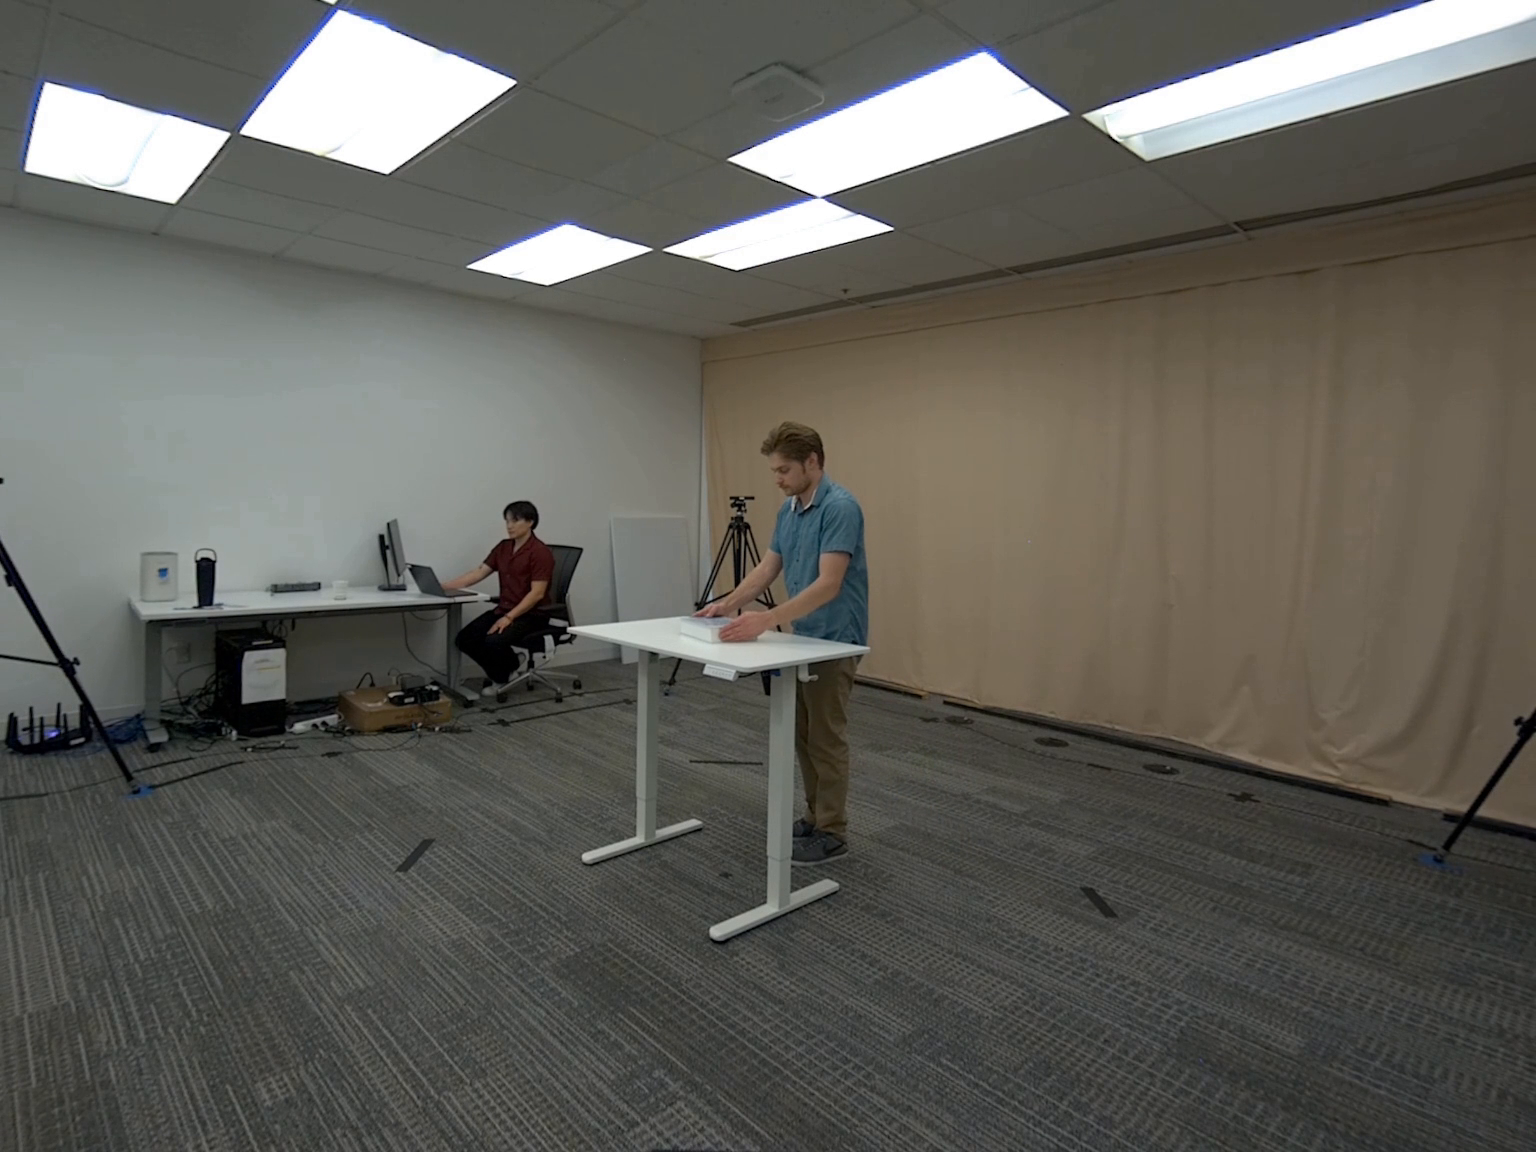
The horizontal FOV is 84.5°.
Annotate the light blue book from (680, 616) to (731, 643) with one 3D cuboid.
[{"bbox_3d":[-0.187,0.198,3.075,0.188,0.059,0.267,-1,5,-28],"label":"light blue book"}]
